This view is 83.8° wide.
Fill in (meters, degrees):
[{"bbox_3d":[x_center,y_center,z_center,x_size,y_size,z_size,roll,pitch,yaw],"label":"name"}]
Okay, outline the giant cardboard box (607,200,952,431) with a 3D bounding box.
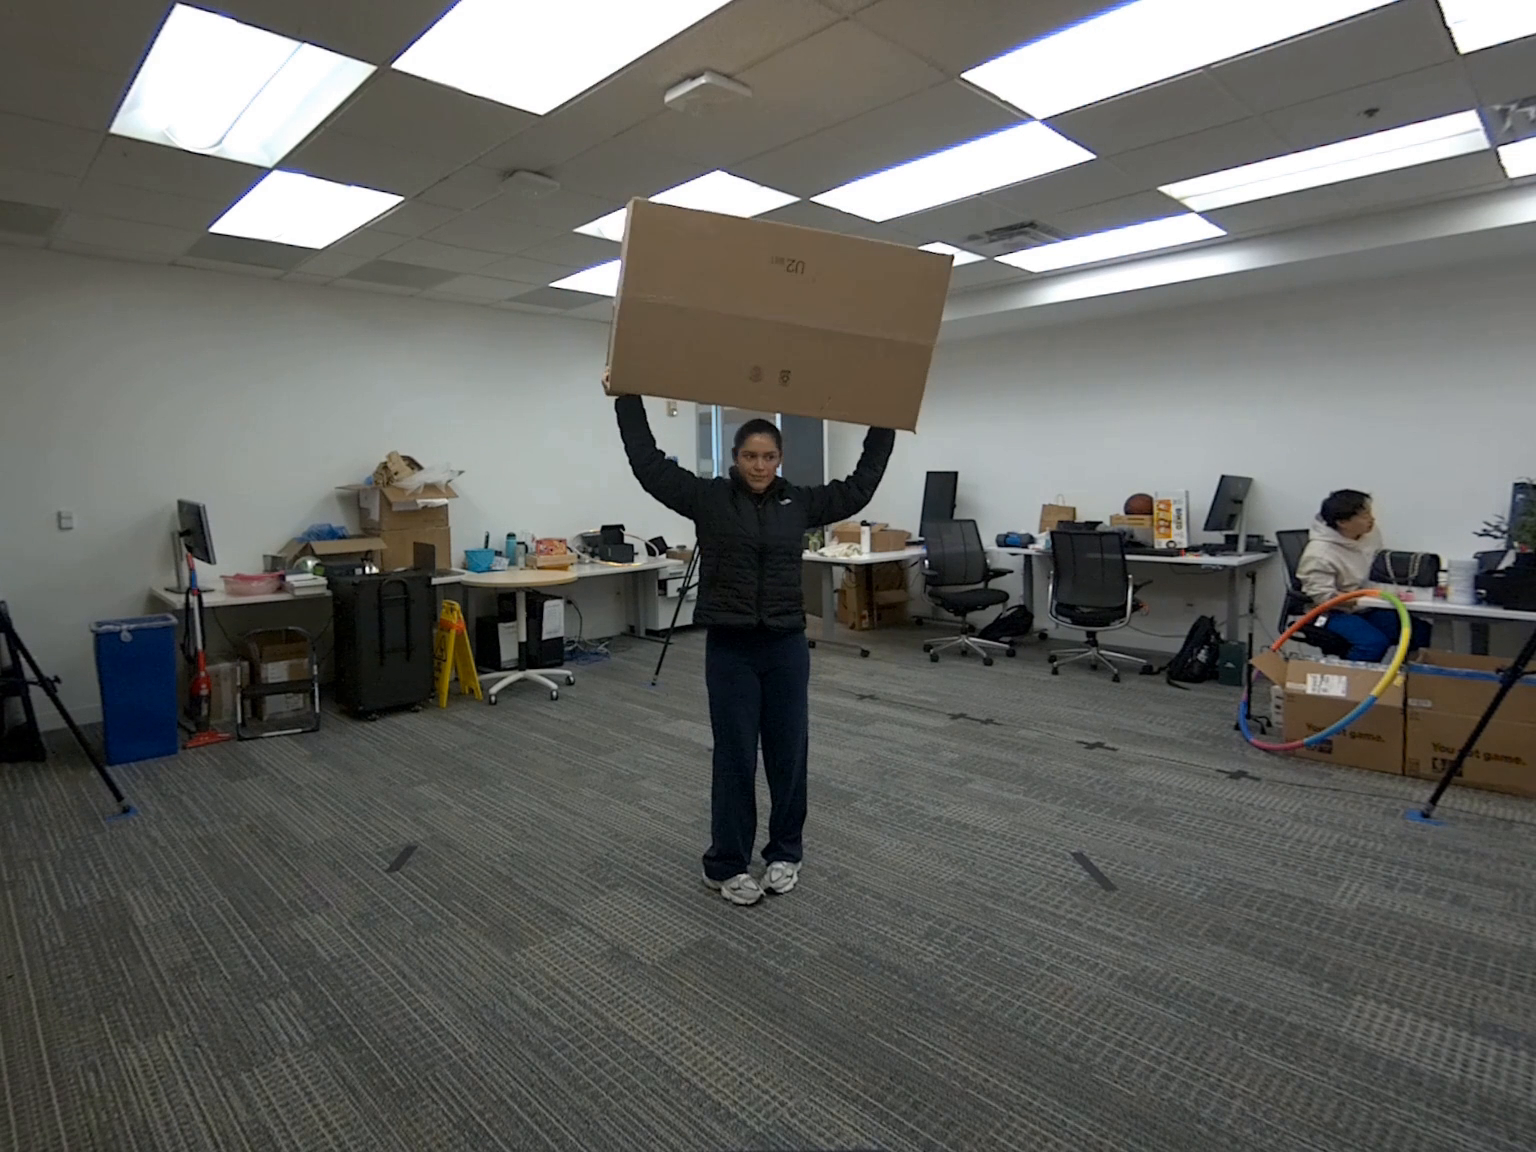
[{"bbox_3d":[0.005,-0.860,2.871,1.014,0.577,0.458,6,17,-12],"label":"giant cardboard box"}]
